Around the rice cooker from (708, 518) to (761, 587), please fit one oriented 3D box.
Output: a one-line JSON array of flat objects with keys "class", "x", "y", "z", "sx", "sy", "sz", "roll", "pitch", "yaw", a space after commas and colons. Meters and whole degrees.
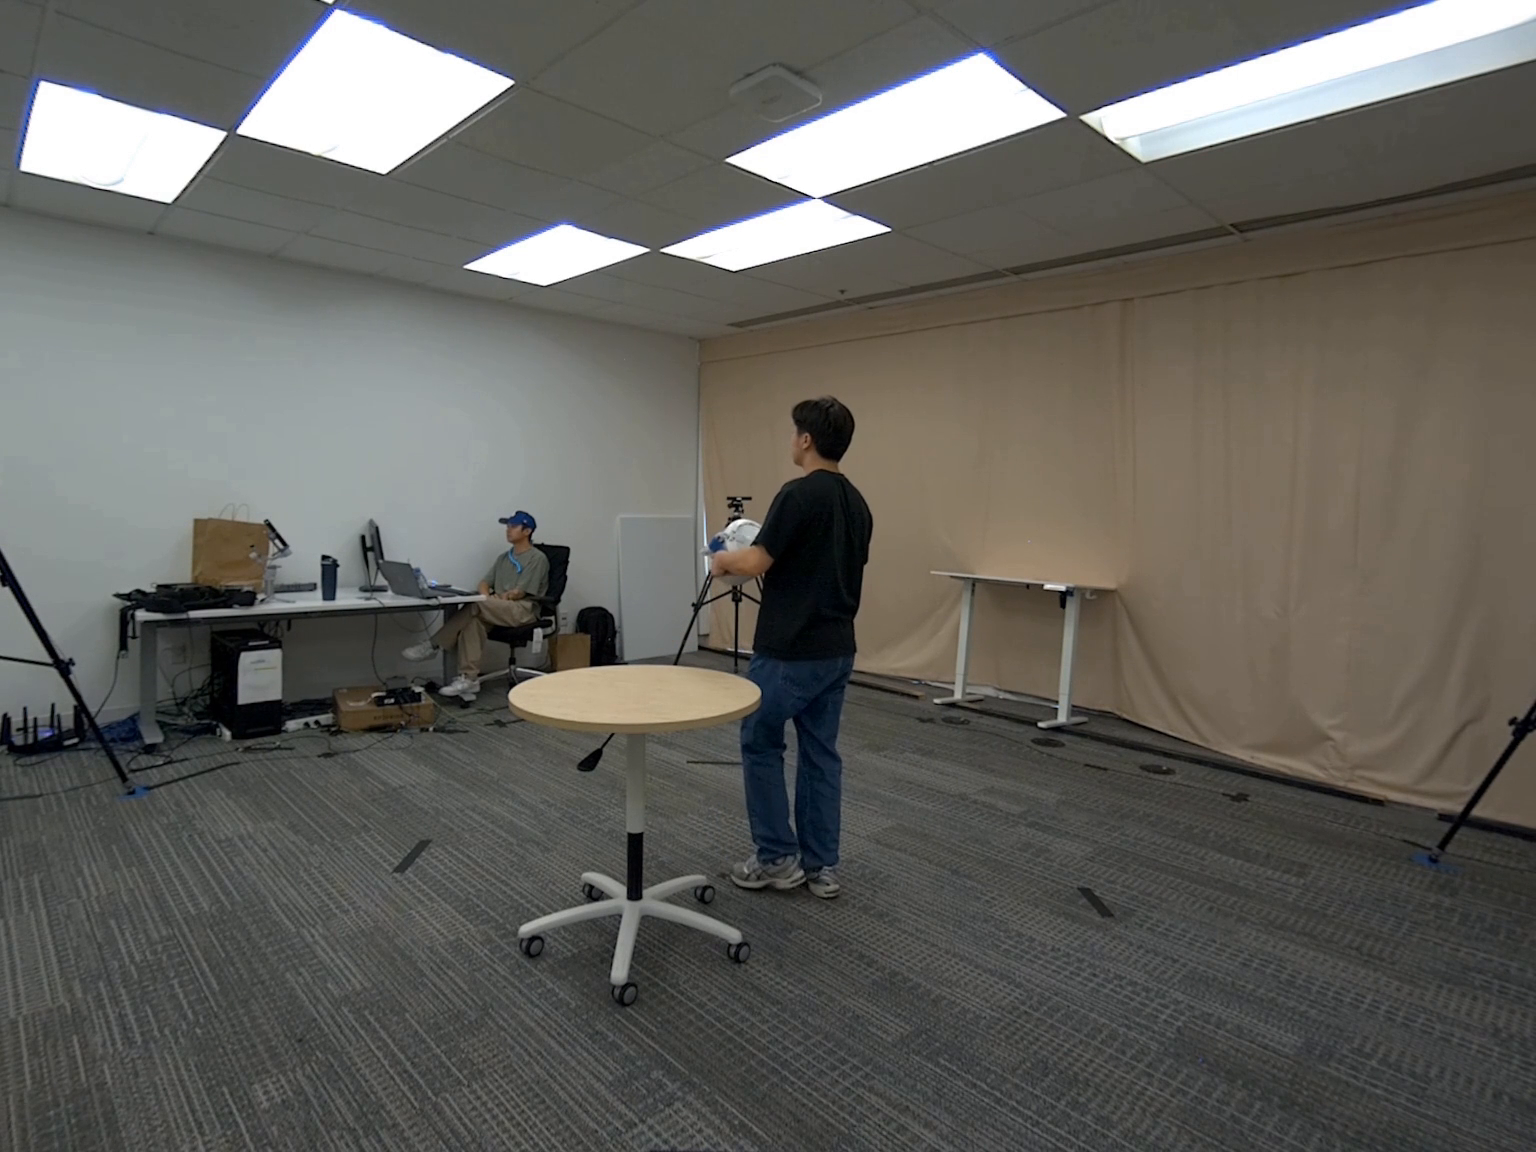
[{"class": "rice cooker", "x": -0.111, "y": -0.077, "z": 3.222, "sx": 0.219, "sy": 0.218, "sz": 0.234, "roll": -34, "pitch": -3, "yaw": -37}]
